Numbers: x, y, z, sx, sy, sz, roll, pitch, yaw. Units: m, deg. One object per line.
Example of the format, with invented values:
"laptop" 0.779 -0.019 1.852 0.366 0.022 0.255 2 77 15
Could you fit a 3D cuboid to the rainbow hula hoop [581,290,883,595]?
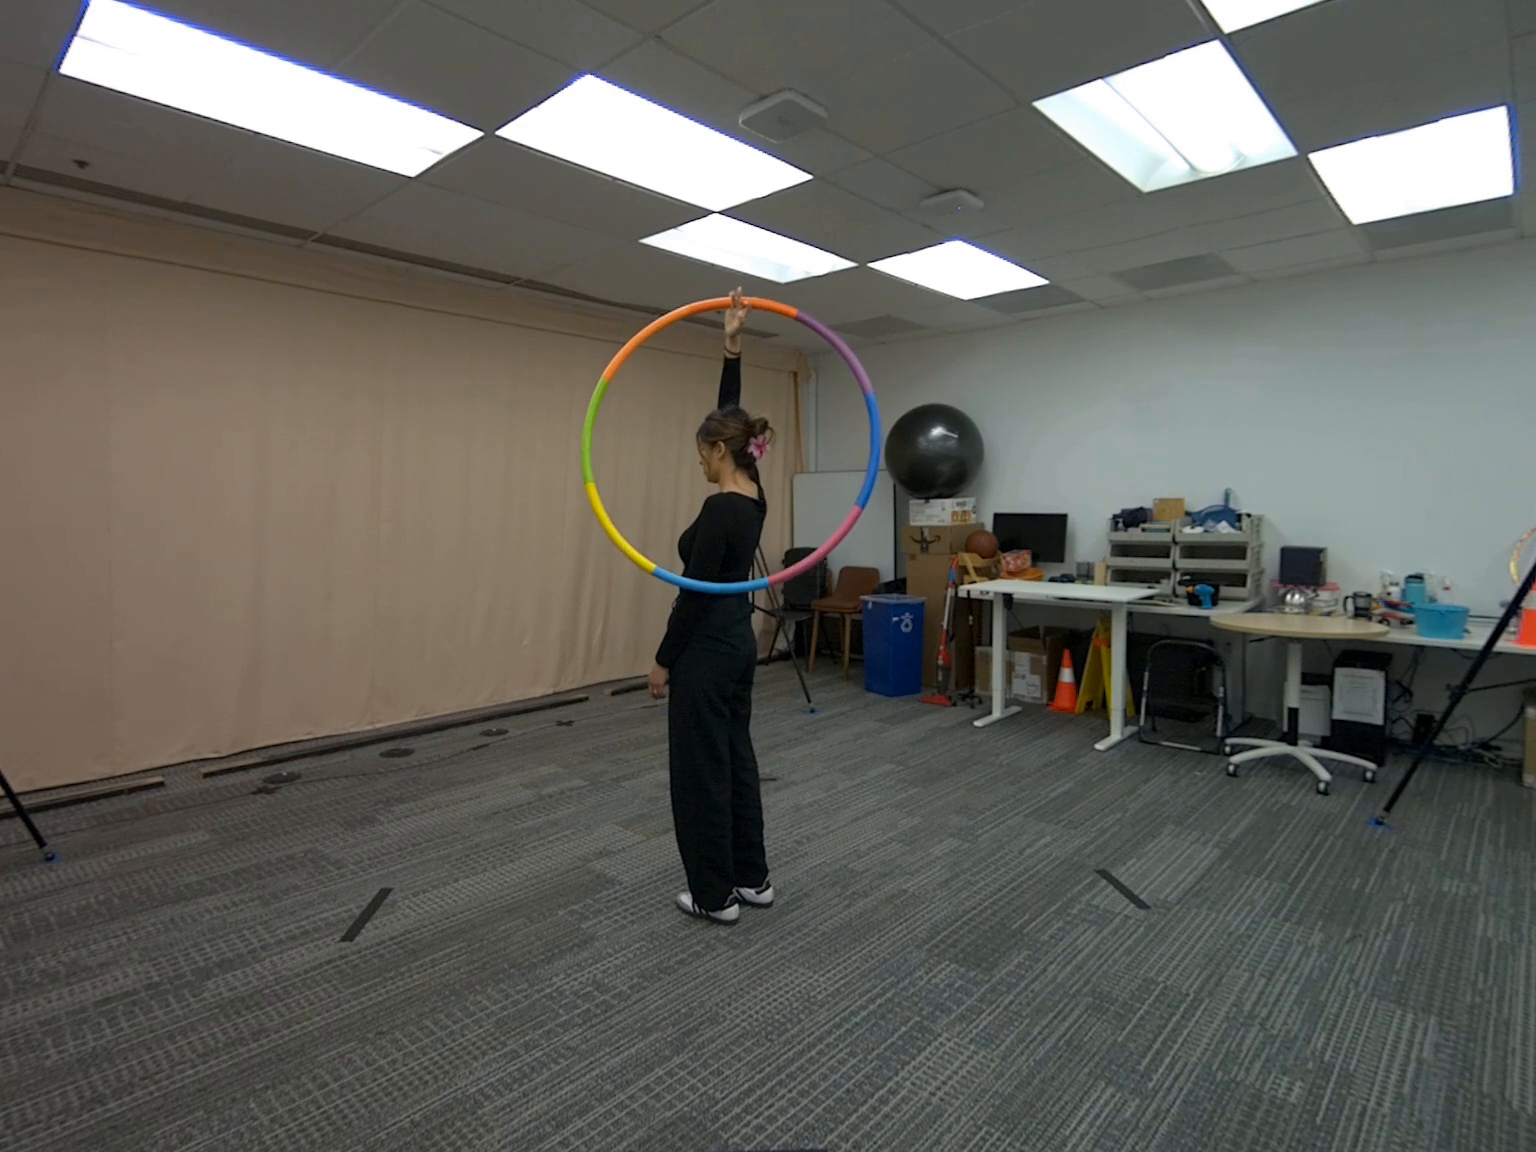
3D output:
"rainbow hula hoop" -0.123 -0.435 2.724 0.995 0.991 0.051 0 -9 9
